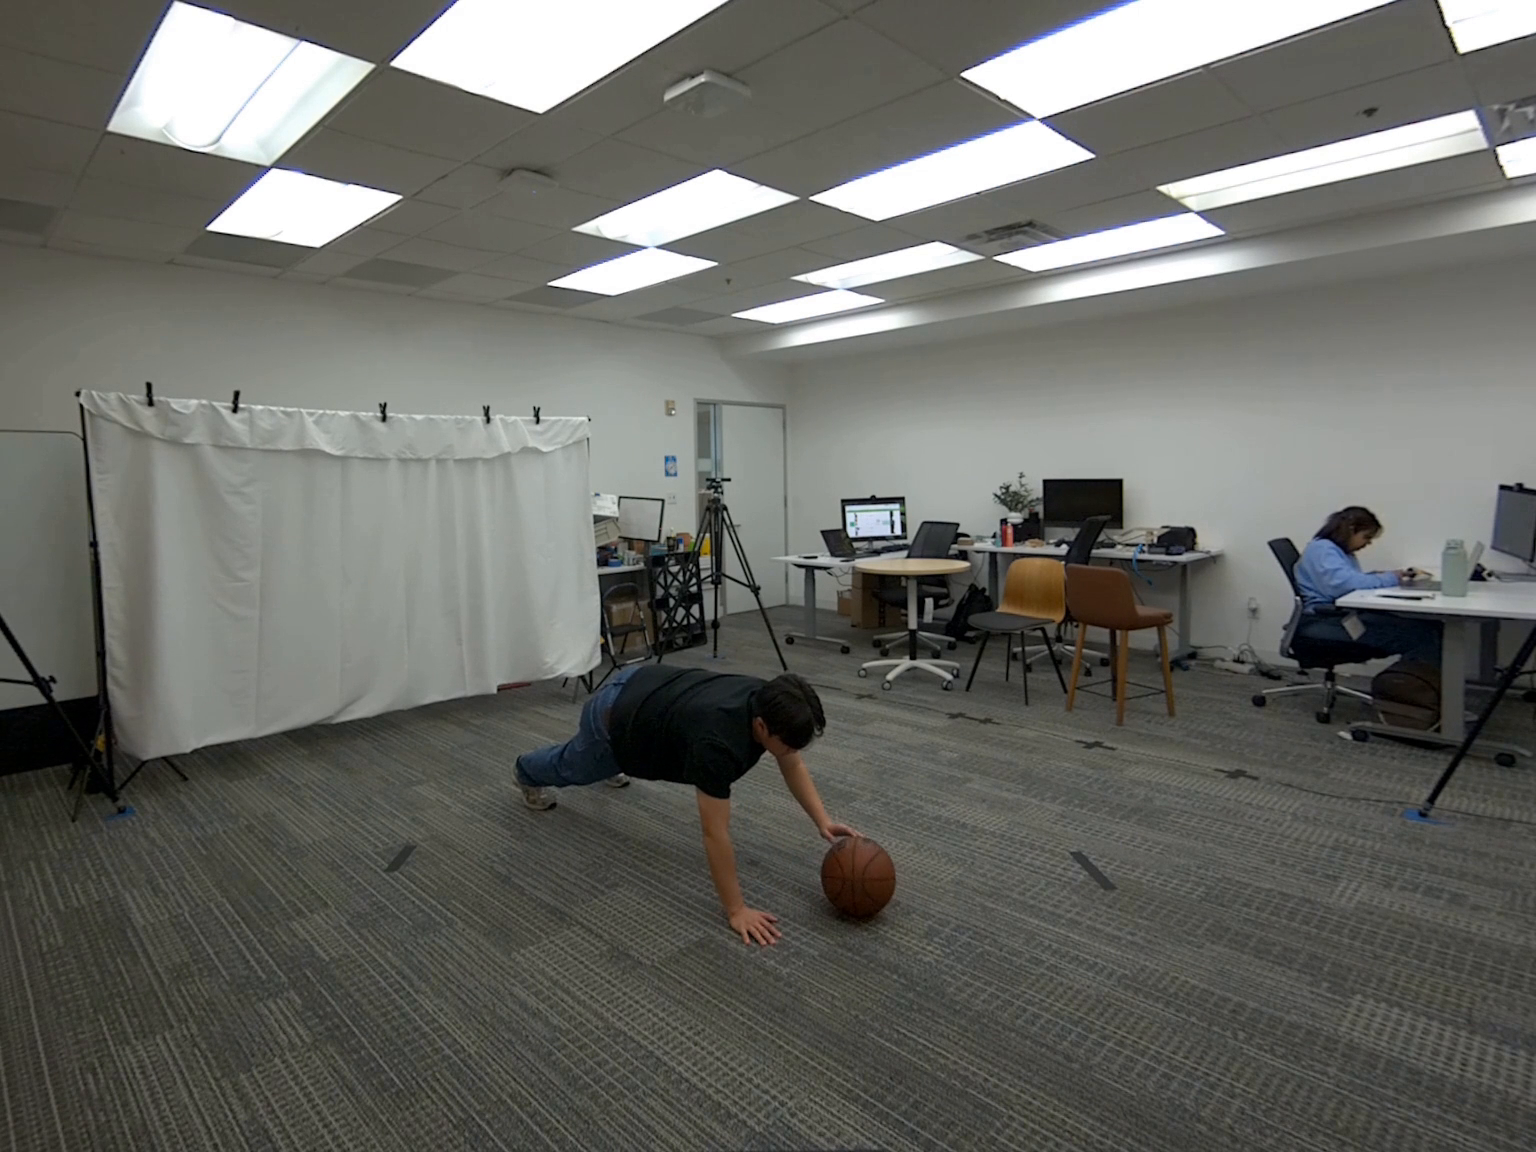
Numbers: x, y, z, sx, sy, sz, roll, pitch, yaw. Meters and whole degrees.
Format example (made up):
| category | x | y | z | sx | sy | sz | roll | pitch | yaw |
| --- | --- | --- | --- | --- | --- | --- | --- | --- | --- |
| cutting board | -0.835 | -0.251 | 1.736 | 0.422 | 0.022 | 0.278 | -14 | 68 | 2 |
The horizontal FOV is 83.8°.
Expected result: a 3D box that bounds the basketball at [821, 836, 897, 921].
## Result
| category | x | y | z | sx | sy | sz | roll | pitch | yaw |
| --- | --- | --- | --- | --- | --- | --- | --- | --- | --- |
| basketball | 0.295 | 0.955 | 2.738 | 0.236 | 0.235 | 0.237 | -1 | 5 | -2 |
